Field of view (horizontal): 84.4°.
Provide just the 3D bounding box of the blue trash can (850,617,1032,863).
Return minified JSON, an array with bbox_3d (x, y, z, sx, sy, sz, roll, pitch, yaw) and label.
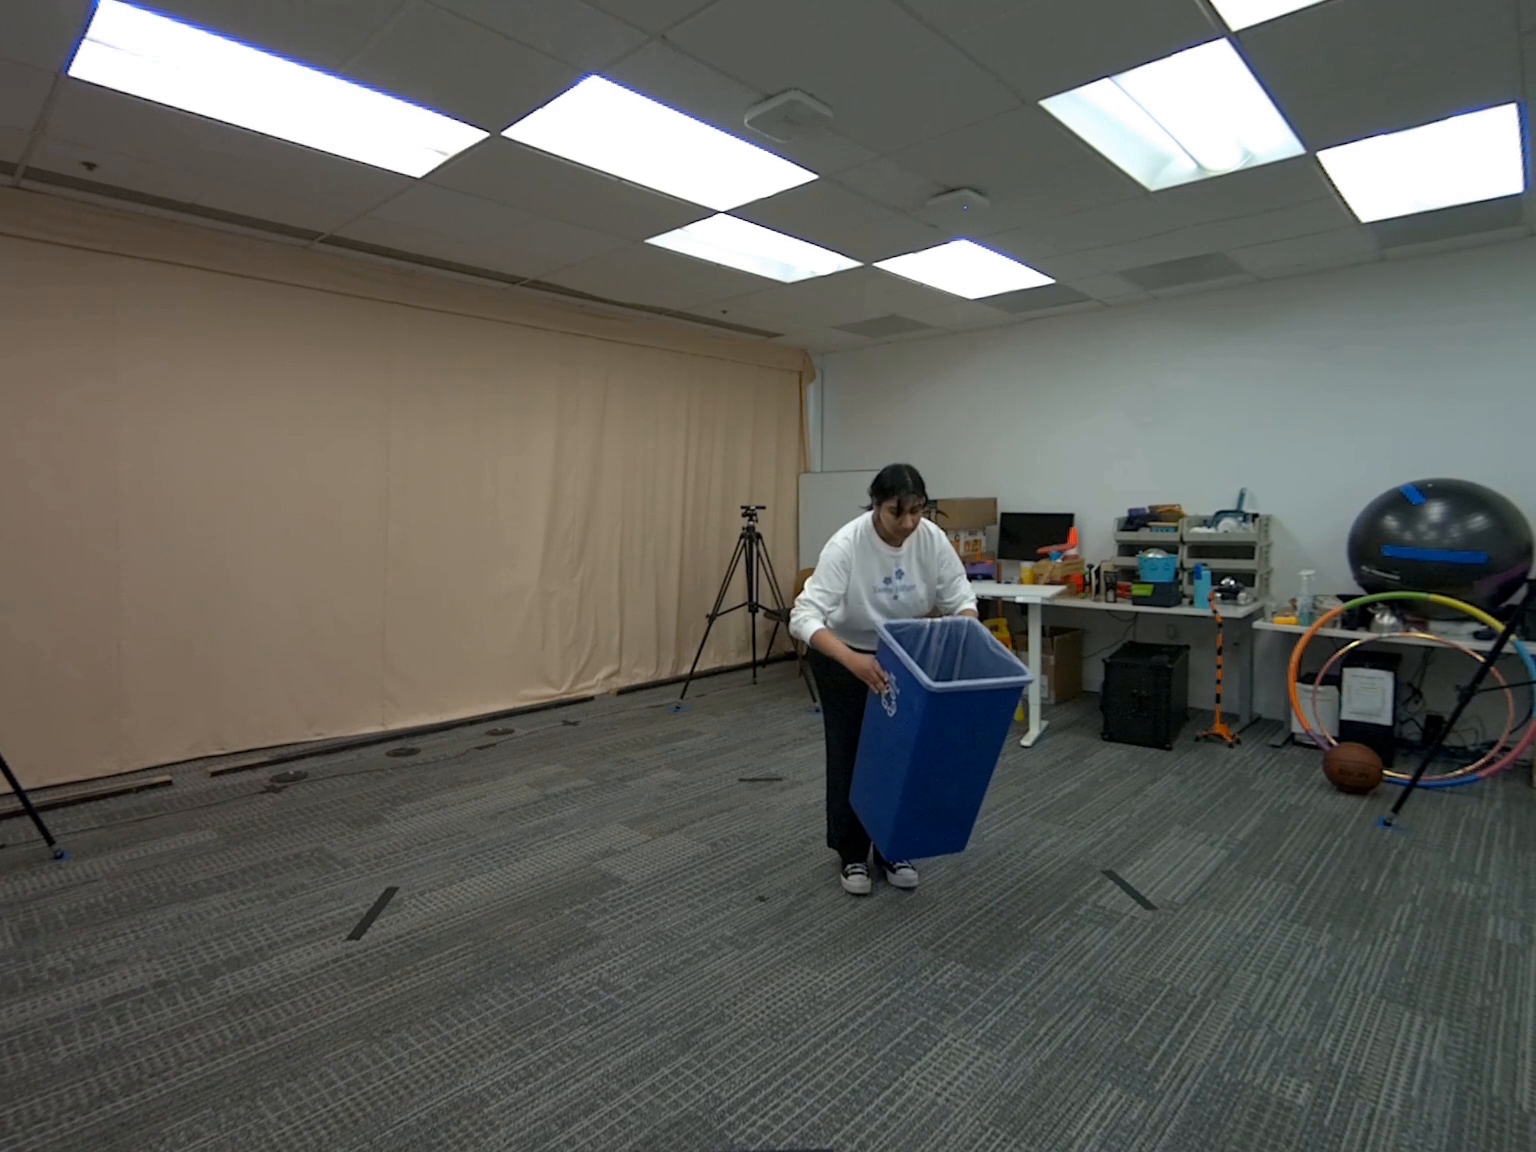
[{"bbox_3d":[0.525,0.539,2.732,0.371,0.706,0.385,-1,25,-20],"label":"blue trash can"}]
